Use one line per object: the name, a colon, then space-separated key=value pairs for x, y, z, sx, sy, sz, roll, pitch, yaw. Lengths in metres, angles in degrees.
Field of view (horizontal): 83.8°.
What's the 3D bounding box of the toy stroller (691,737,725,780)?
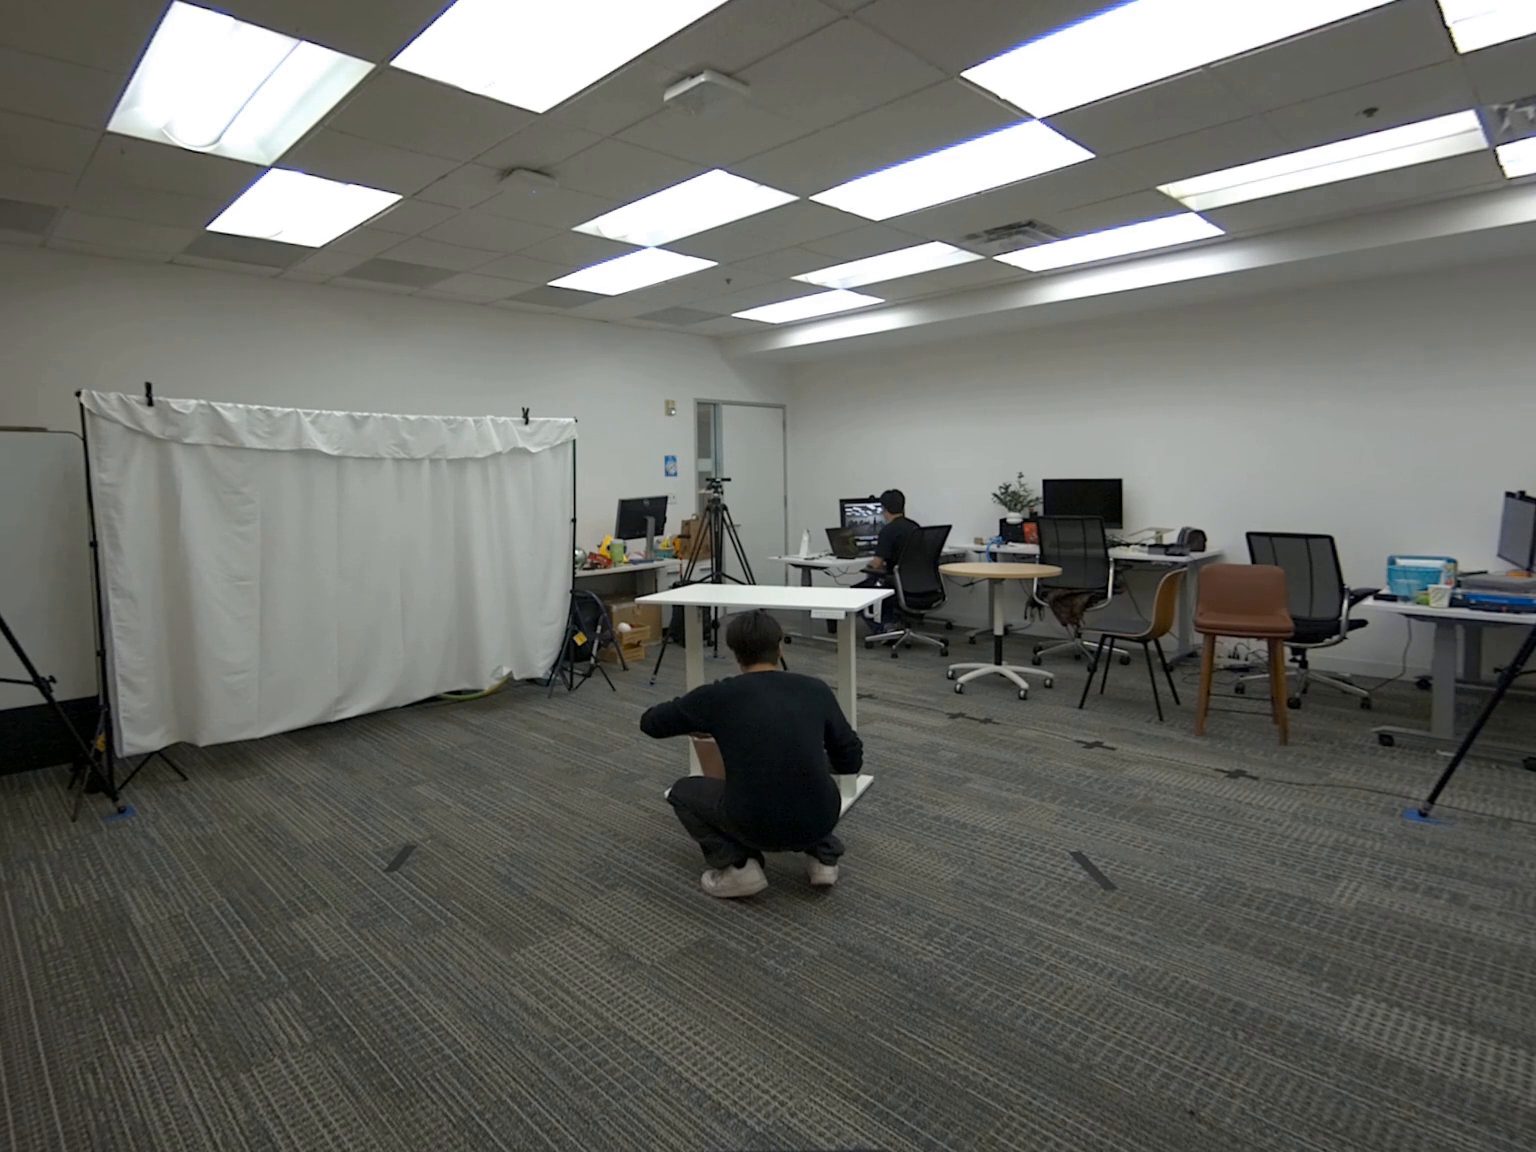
toy stroller: x=-0.158 y=0.773 z=3.478 sx=0.288 sy=0.526 sz=0.339 roll=2 pitch=19 yaw=25
